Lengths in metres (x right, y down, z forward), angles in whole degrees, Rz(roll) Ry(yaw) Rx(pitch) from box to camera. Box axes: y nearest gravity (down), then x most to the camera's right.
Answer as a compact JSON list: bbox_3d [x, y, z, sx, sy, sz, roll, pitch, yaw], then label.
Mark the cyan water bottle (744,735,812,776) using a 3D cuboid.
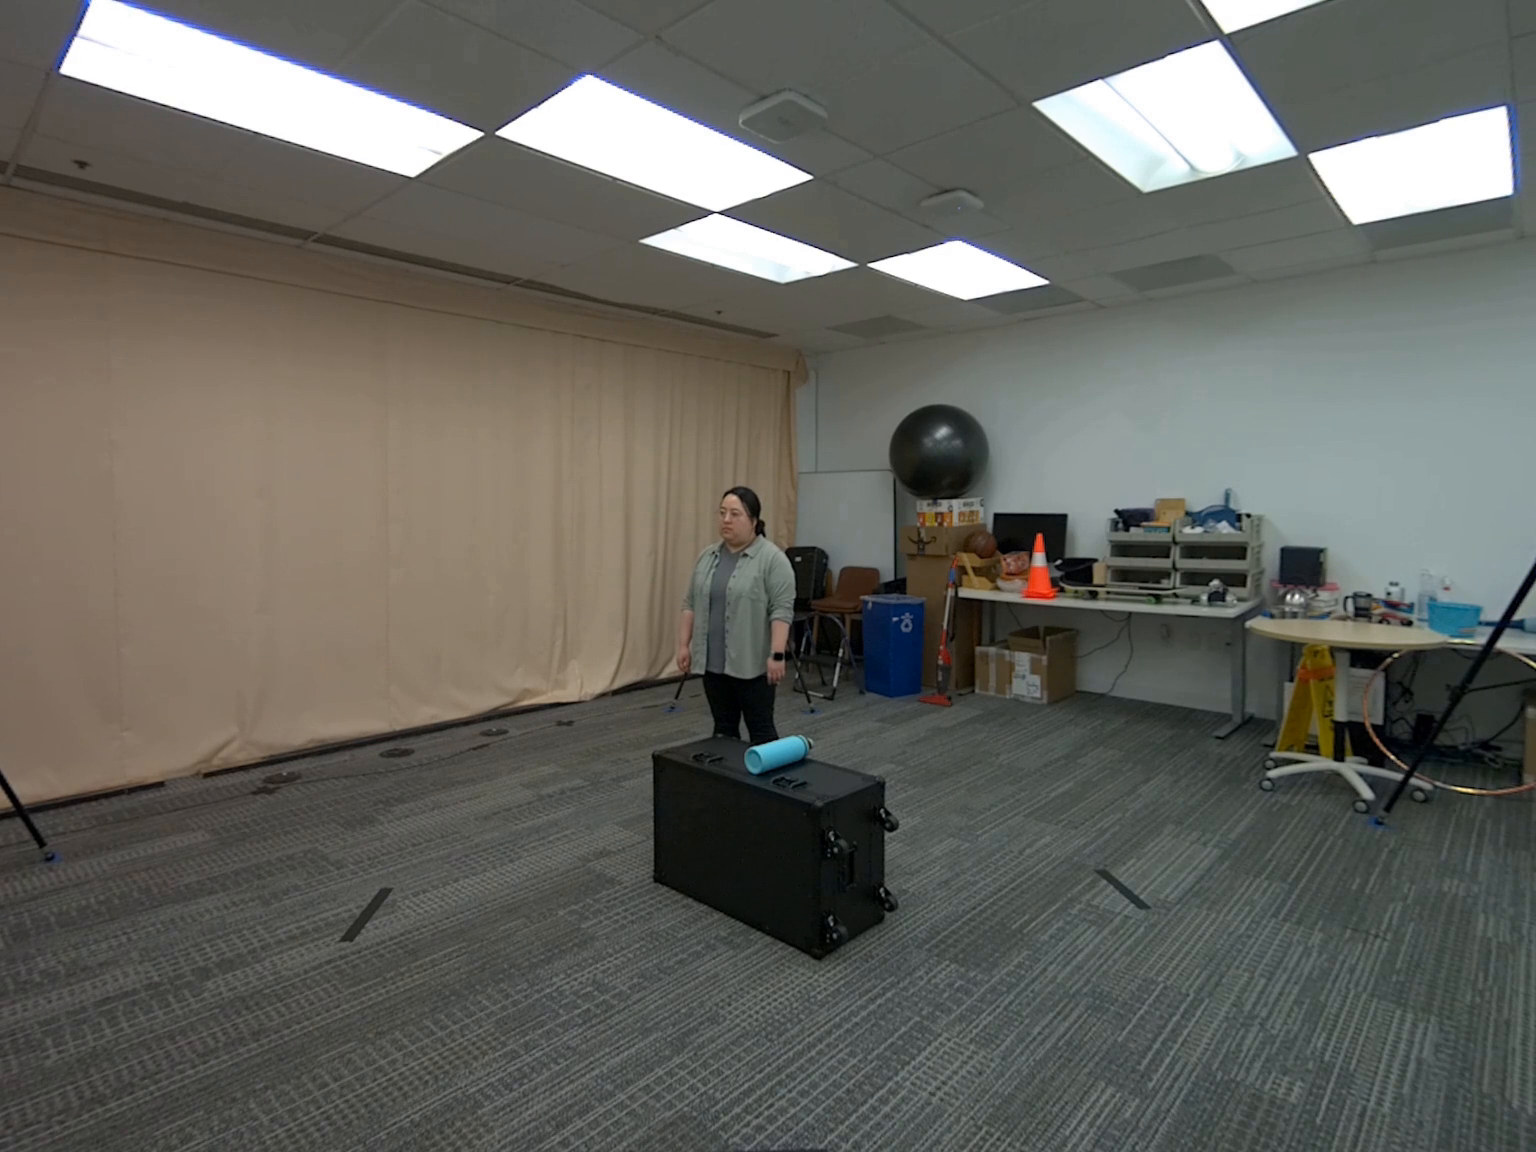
[{"bbox_3d":[0.044,0.613,2.950,0.095,0.092,0.275,4,6,43],"label":"cyan water bottle"}]
